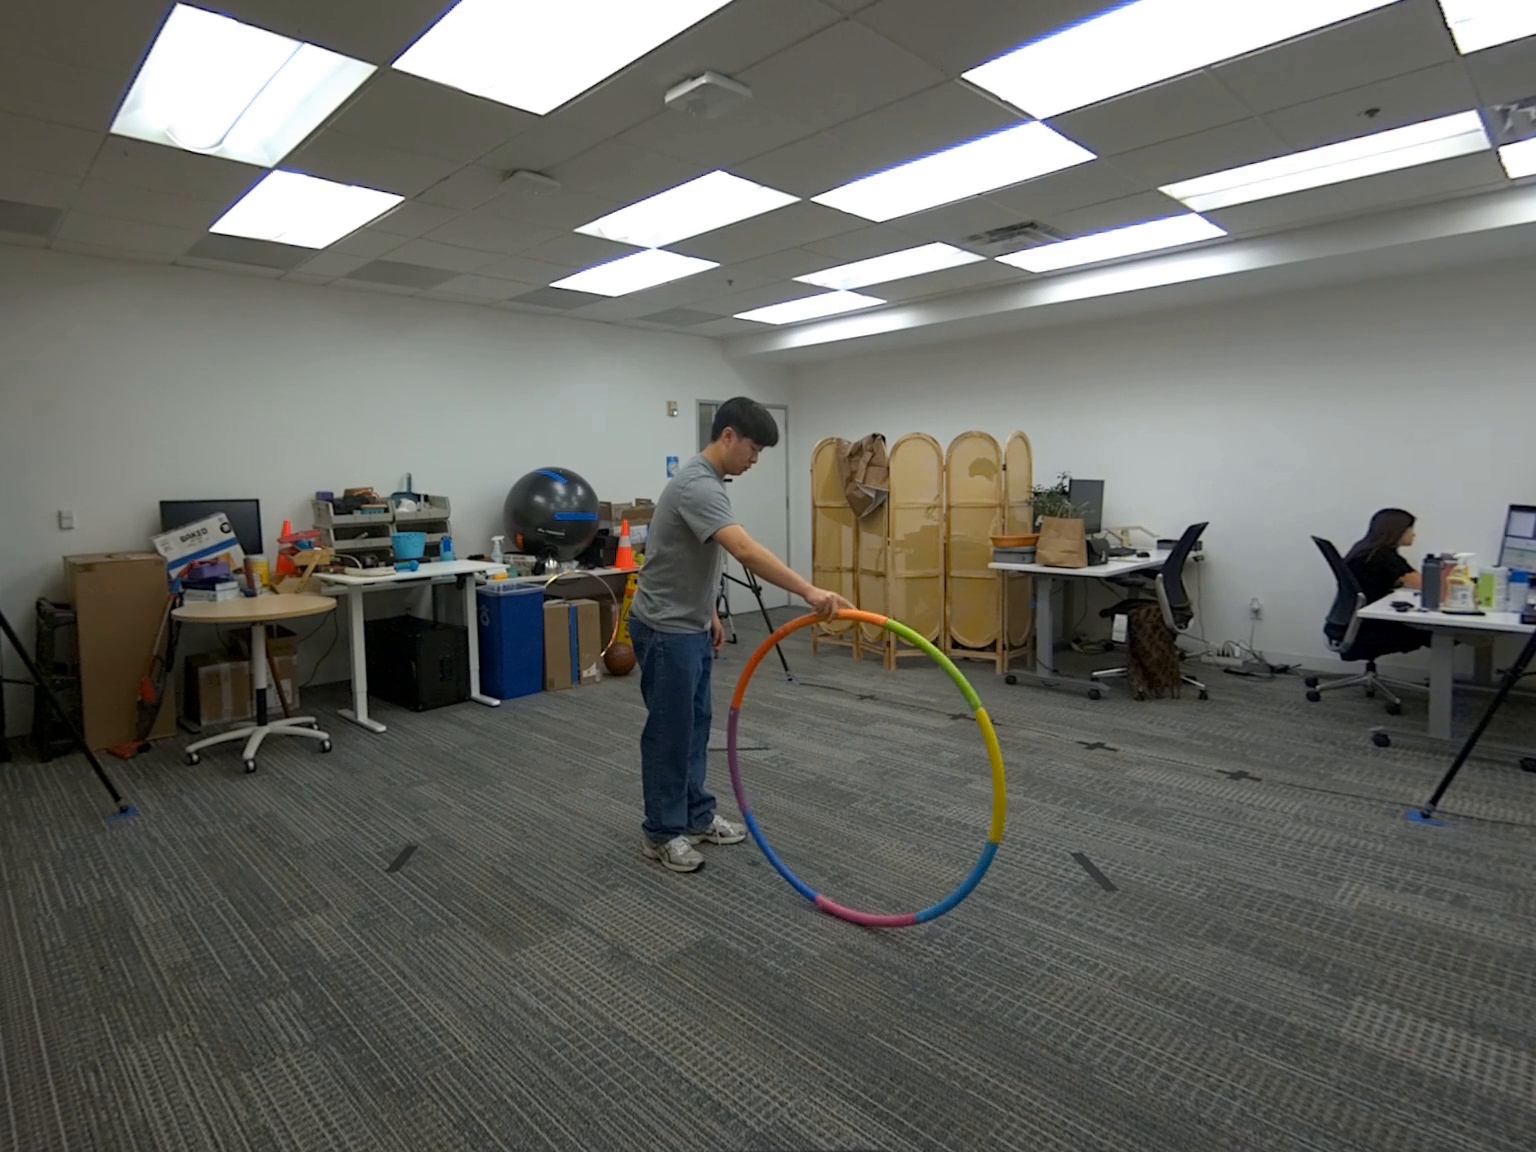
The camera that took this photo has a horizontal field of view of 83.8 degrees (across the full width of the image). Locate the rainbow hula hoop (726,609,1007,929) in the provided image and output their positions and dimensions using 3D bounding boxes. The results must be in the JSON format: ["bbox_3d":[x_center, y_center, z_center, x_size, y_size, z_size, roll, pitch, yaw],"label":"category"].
[{"bbox_3d":[0.256,0.601,2.697,1.008,0.977,0.034,3,2,39],"label":"rainbow hula hoop"}]
